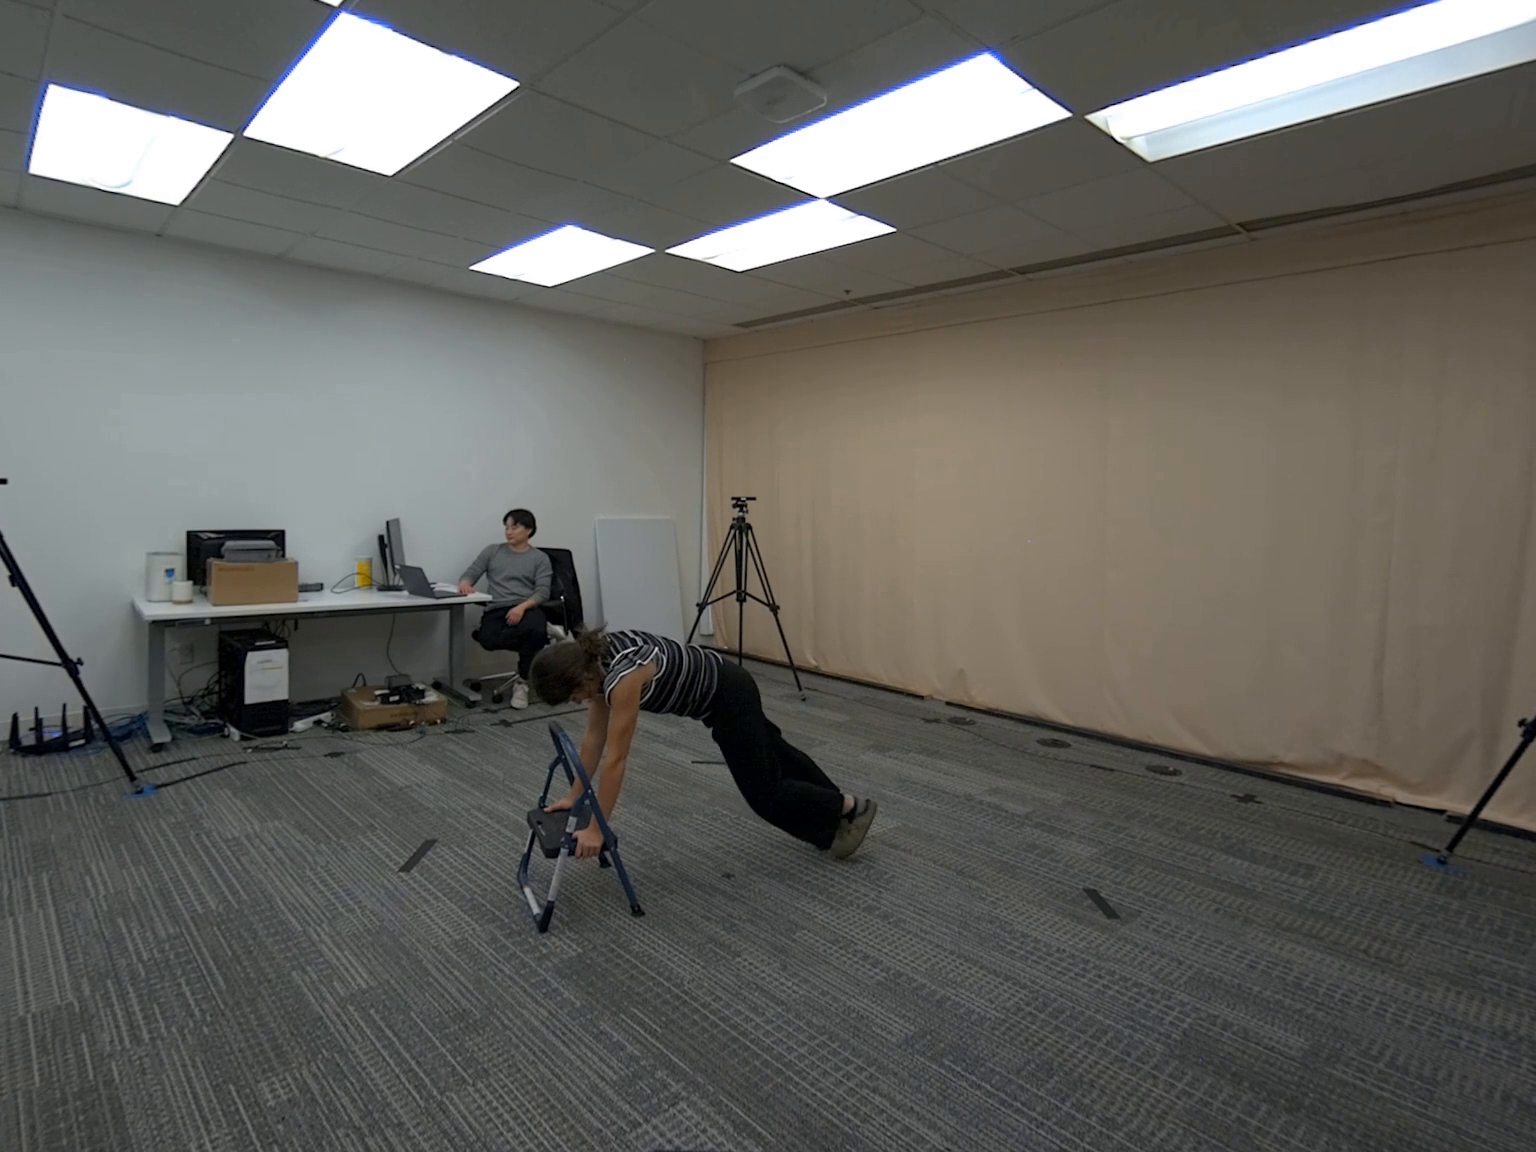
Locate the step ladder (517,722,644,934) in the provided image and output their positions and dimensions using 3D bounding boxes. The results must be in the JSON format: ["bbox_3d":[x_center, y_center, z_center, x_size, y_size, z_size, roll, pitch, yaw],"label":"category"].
[{"bbox_3d":[-0.661,0.815,2.899,0.343,0.604,0.440,-1,4,-27],"label":"step ladder"}]
